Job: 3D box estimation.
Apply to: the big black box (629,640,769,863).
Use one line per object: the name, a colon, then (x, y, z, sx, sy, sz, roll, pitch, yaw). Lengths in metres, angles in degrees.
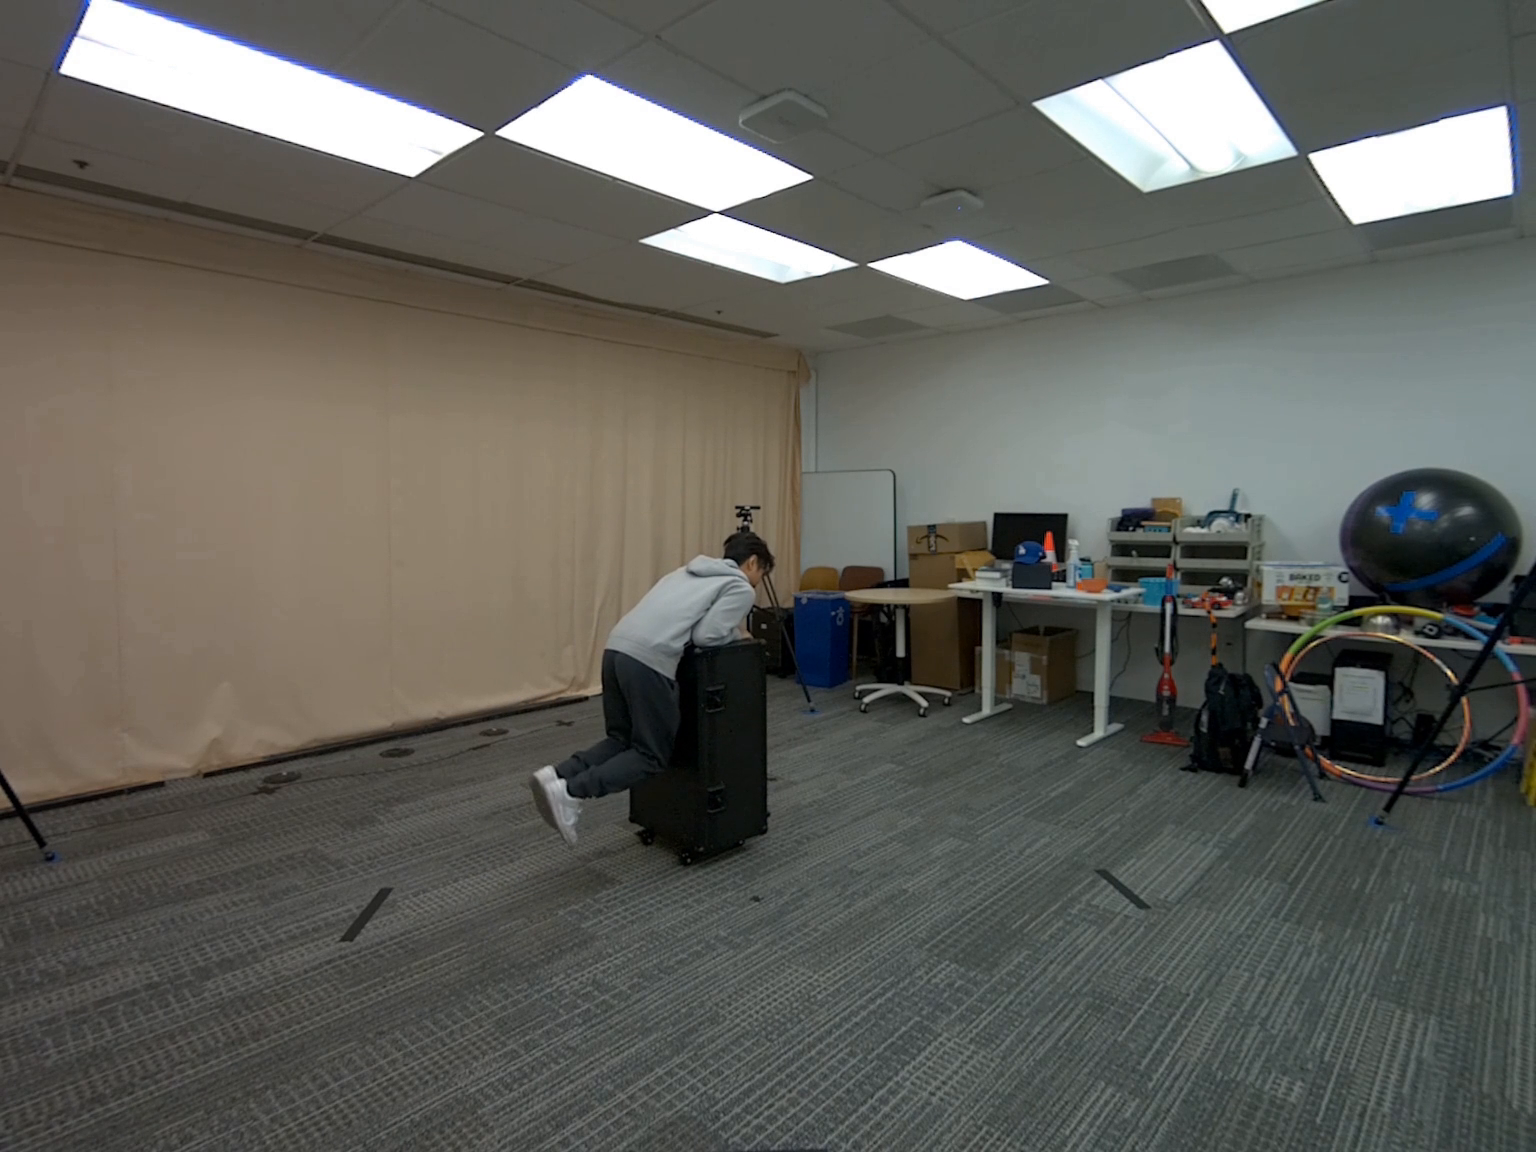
big black box: (-0.290, 0.689, 3.474, 0.384, 0.860, 0.538, -1, 3, -41)
